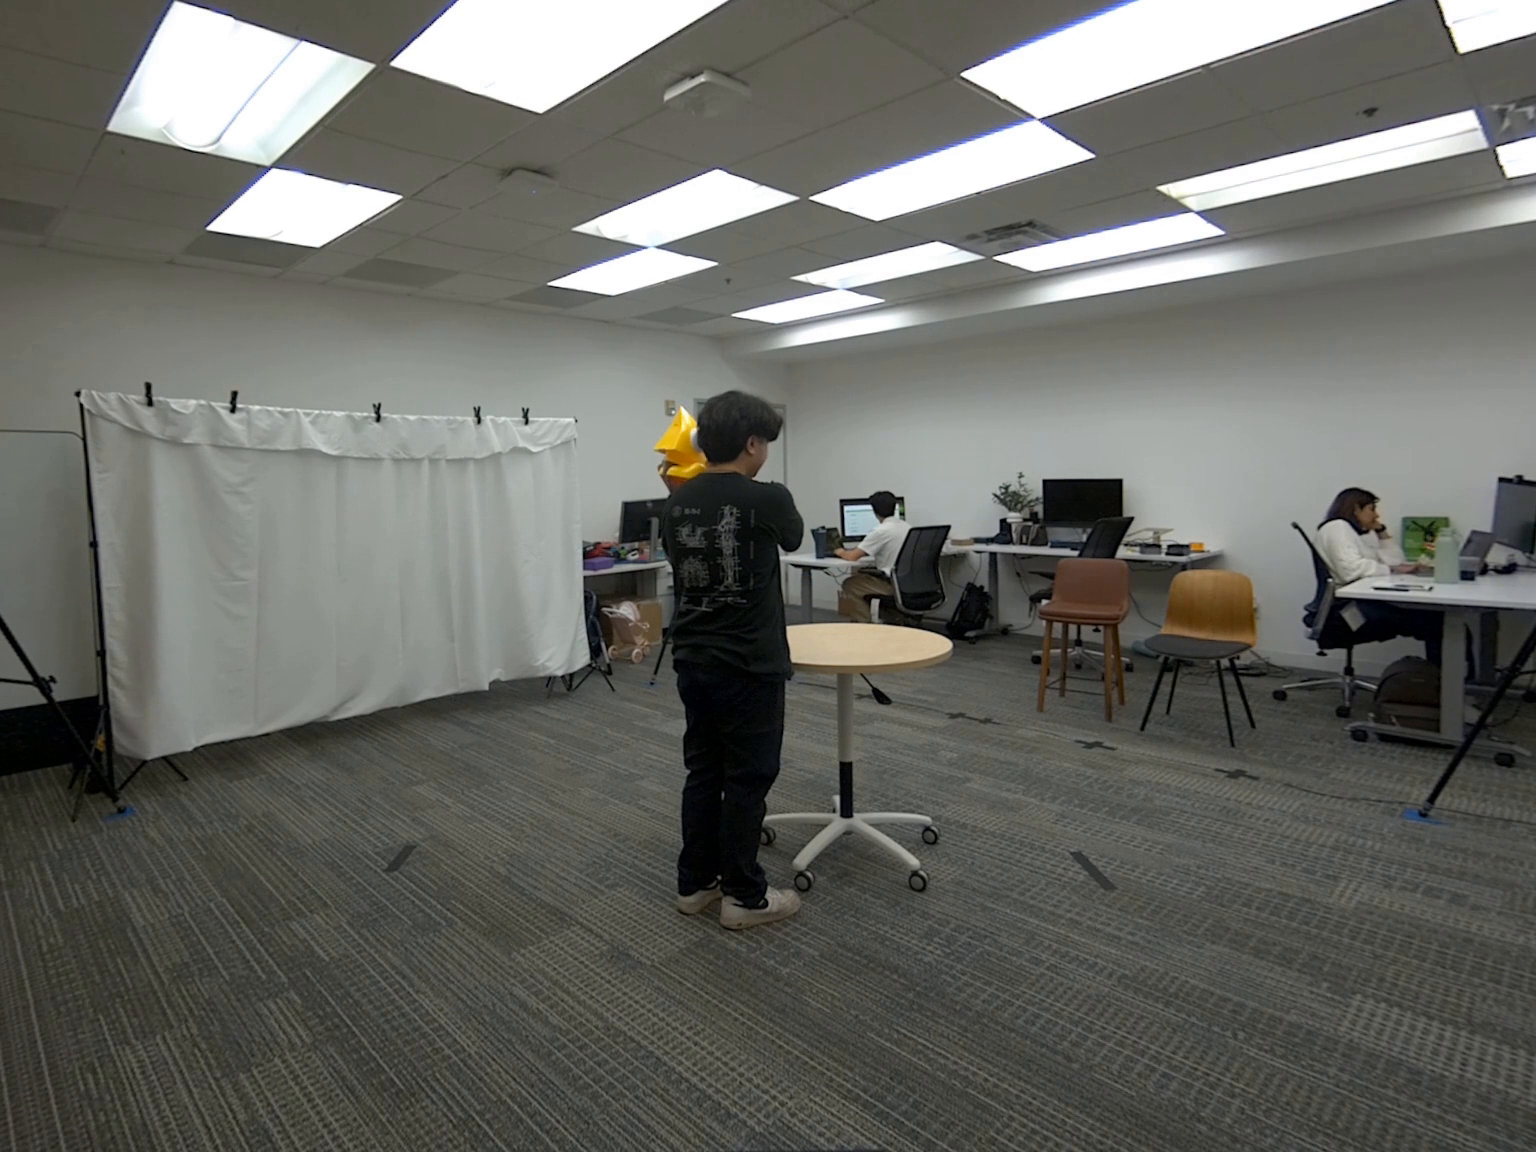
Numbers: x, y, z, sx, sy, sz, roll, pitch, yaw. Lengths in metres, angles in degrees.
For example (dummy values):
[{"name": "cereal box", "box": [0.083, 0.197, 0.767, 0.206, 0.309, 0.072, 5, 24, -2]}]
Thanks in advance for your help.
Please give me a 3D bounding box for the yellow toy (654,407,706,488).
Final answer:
[{"name": "yellow toy", "box": [-0.259, -0.436, 2.834, 0.188, 0.230, 0.210, 12, 1, -27]}]
